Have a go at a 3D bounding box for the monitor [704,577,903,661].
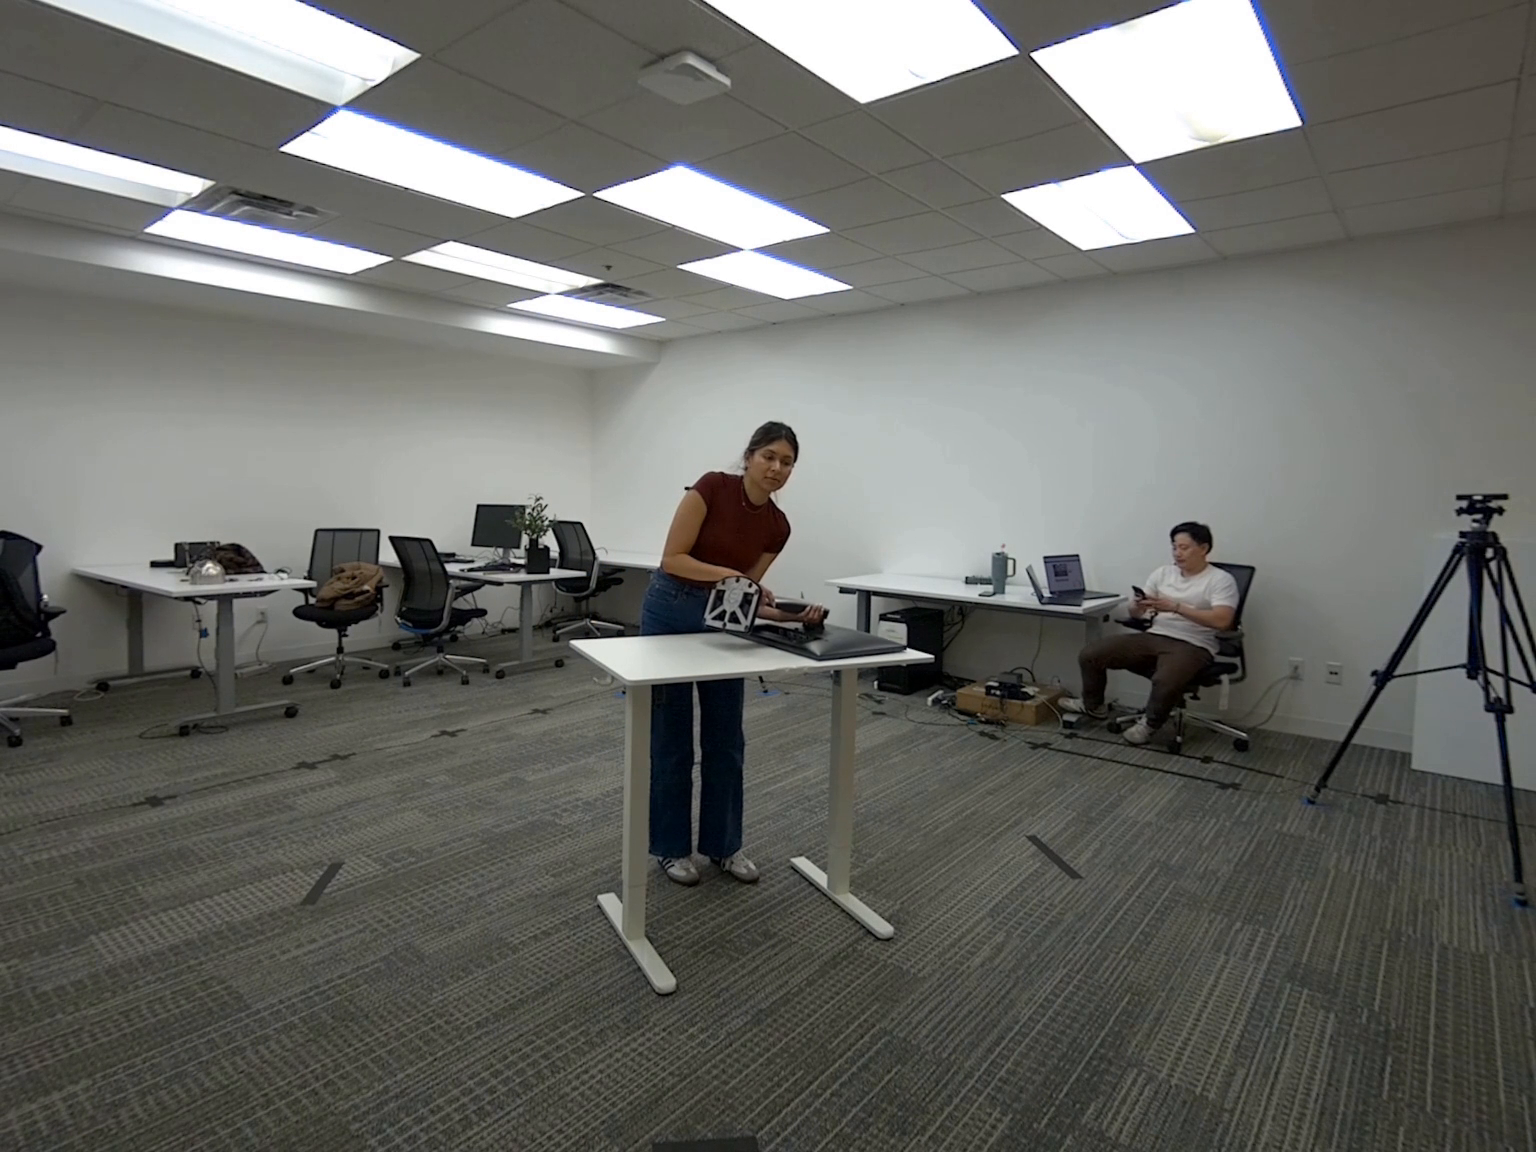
[{"bbox_3d":[0.085,0.155,2.786,0.505,0.187,0.556,17,-4,-32],"label":"monitor"}]
